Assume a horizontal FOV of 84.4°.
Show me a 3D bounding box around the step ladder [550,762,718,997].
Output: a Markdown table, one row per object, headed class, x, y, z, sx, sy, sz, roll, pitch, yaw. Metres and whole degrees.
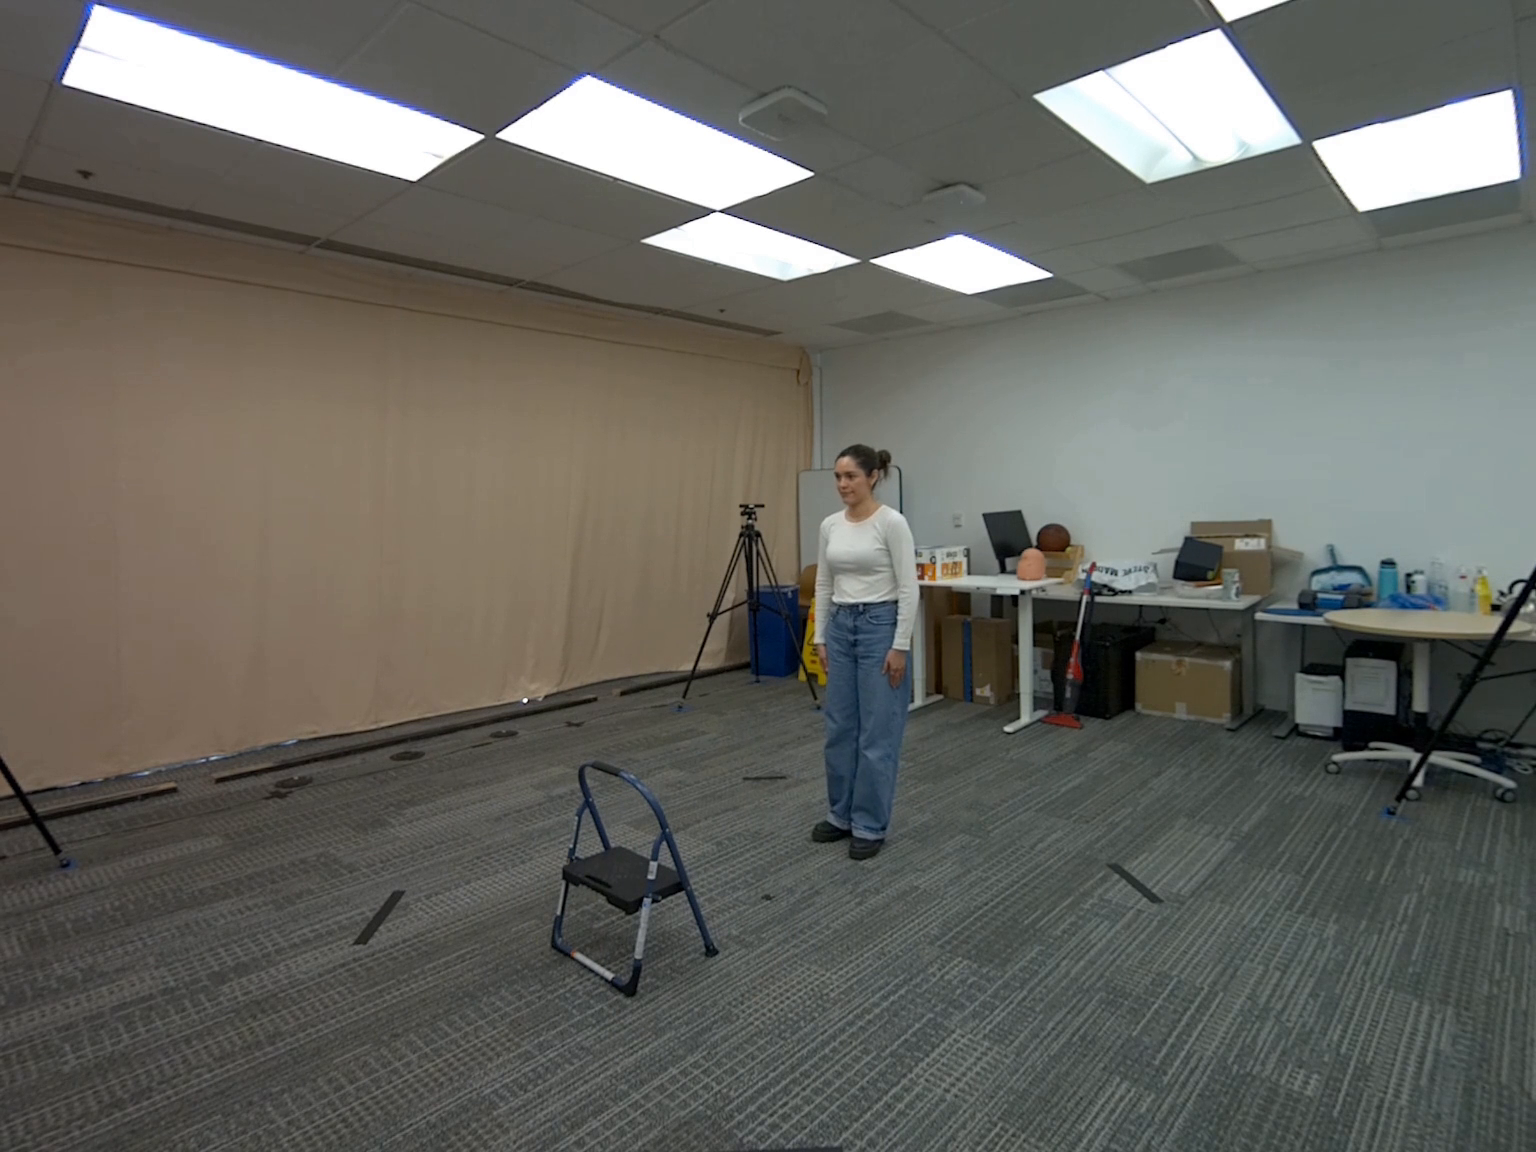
| class | x | y | z | sx | sy | sz | roll | pitch | yaw |
| --- | --- | --- | --- | --- | --- | --- | --- | --- | --- |
| step ladder | -0.430 | 0.876 | 2.635 | 0.445 | 0.605 | 0.339 | 2 | 5 | 43 |
